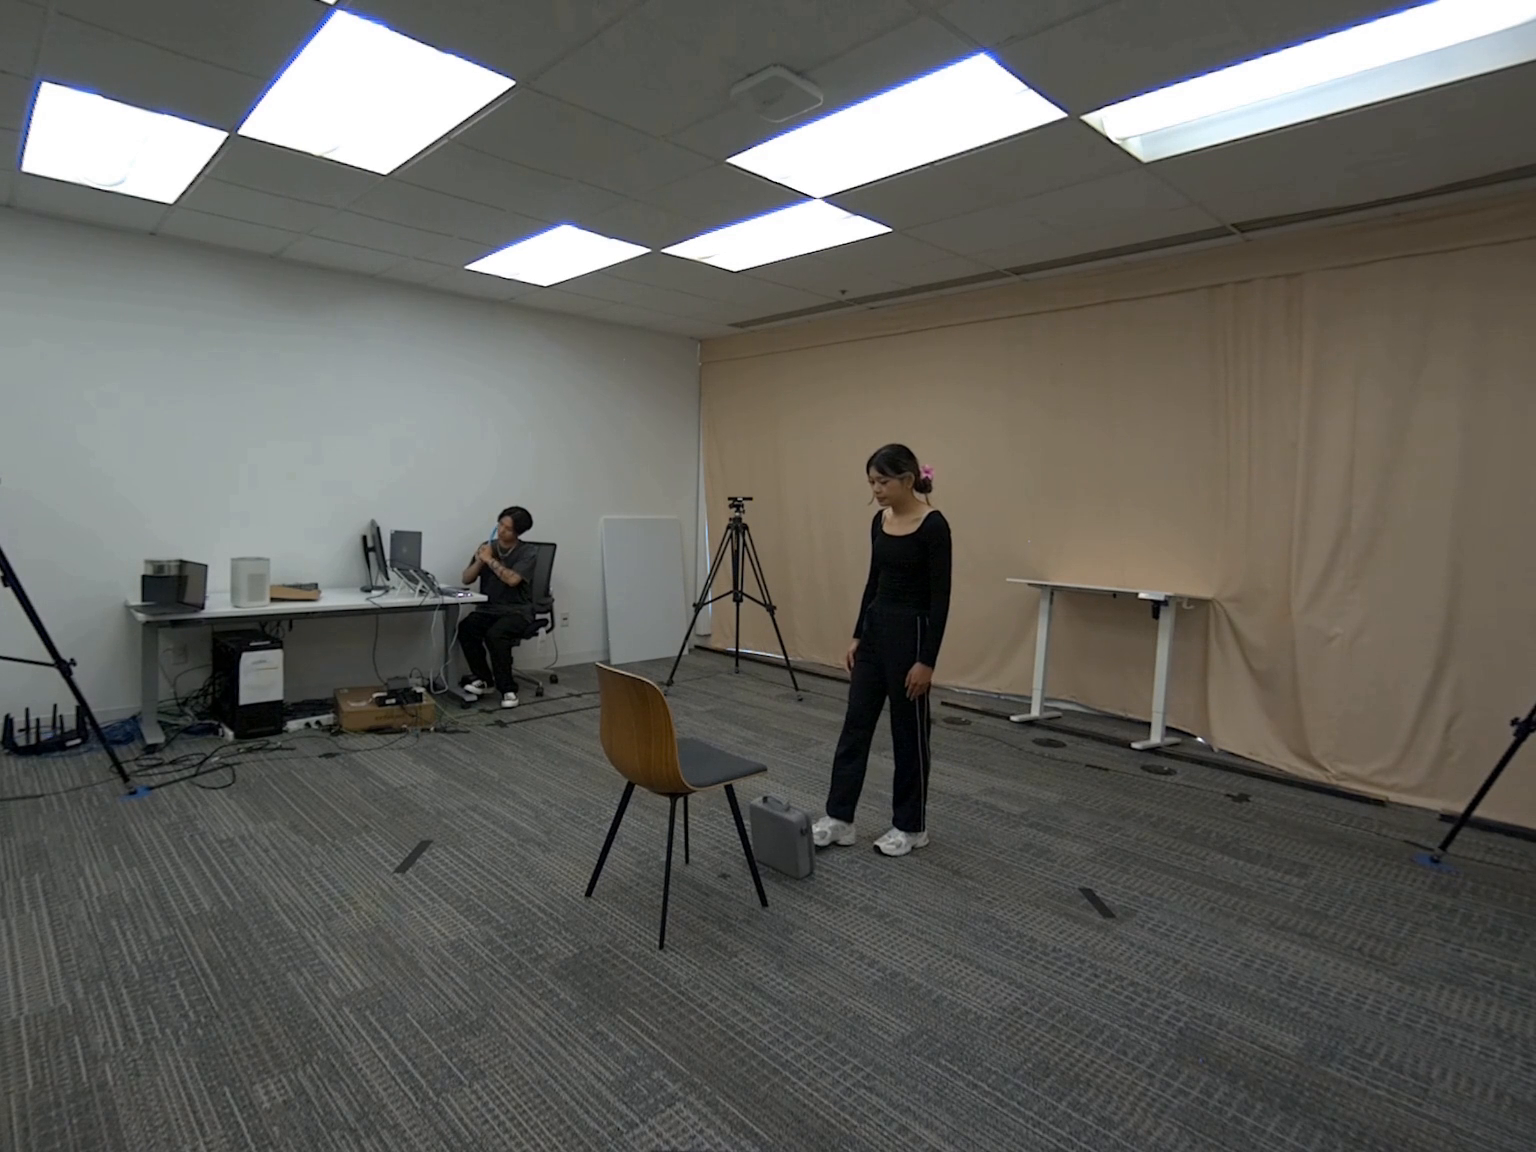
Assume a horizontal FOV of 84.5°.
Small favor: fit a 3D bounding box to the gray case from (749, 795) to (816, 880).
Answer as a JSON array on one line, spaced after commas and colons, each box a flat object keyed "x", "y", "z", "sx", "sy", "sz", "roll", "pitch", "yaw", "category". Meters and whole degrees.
[{"x": 0.045, "y": 0.976, "z": 3.168, "sx": 0.102, "sy": 0.258, "sz": 0.263, "roll": -14, "pitch": 13, "yaw": -42, "category": "gray case"}]
